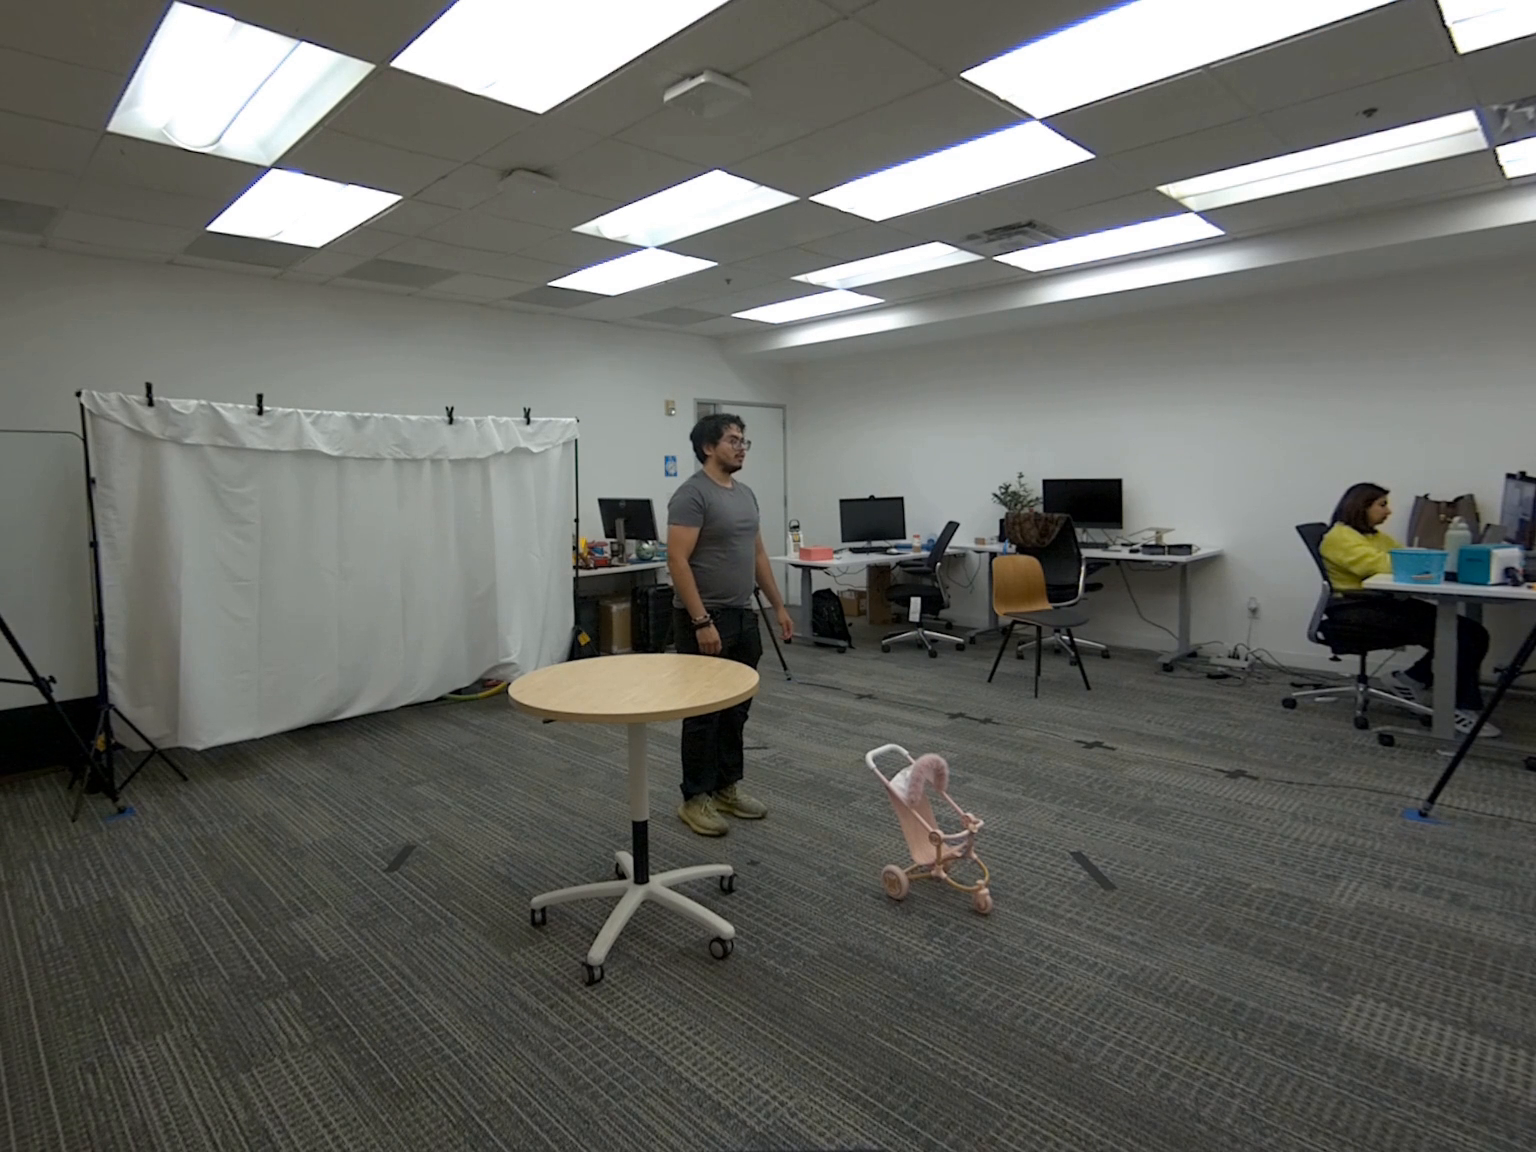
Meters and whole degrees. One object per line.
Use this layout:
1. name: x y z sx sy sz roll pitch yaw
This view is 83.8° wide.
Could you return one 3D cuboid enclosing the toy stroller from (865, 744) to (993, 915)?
1. toy stroller: 0.552 0.834 2.846 0.274 0.539 0.347 -5 -9 -39
